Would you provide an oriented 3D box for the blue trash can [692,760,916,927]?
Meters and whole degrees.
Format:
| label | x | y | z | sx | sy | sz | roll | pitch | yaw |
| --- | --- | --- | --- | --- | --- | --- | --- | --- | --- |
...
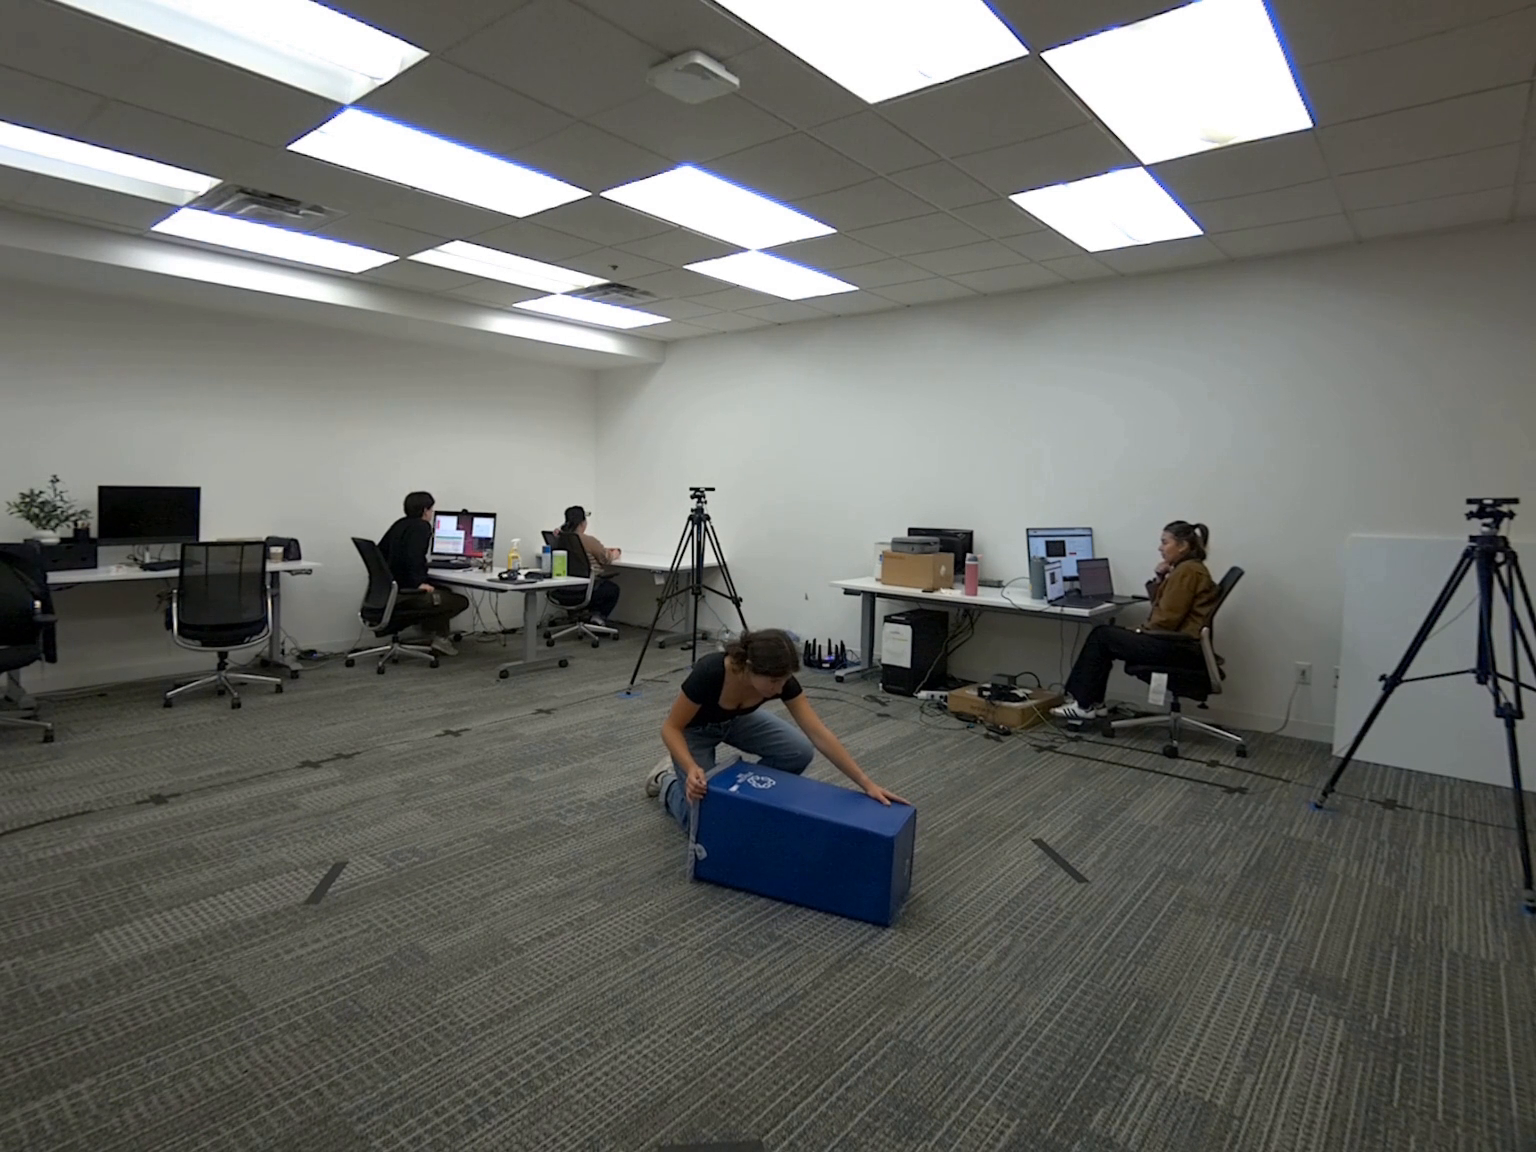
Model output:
| label | x | y | z | sx | sy | sz | roll | pitch | yaw |
| --- | --- | --- | --- | --- | --- | --- | --- | --- | --- |
| blue trash can | 0.115 | 0.920 | 2.986 | 0.733 | 0.377 | 0.365 | 7 | 5 | 25 |
